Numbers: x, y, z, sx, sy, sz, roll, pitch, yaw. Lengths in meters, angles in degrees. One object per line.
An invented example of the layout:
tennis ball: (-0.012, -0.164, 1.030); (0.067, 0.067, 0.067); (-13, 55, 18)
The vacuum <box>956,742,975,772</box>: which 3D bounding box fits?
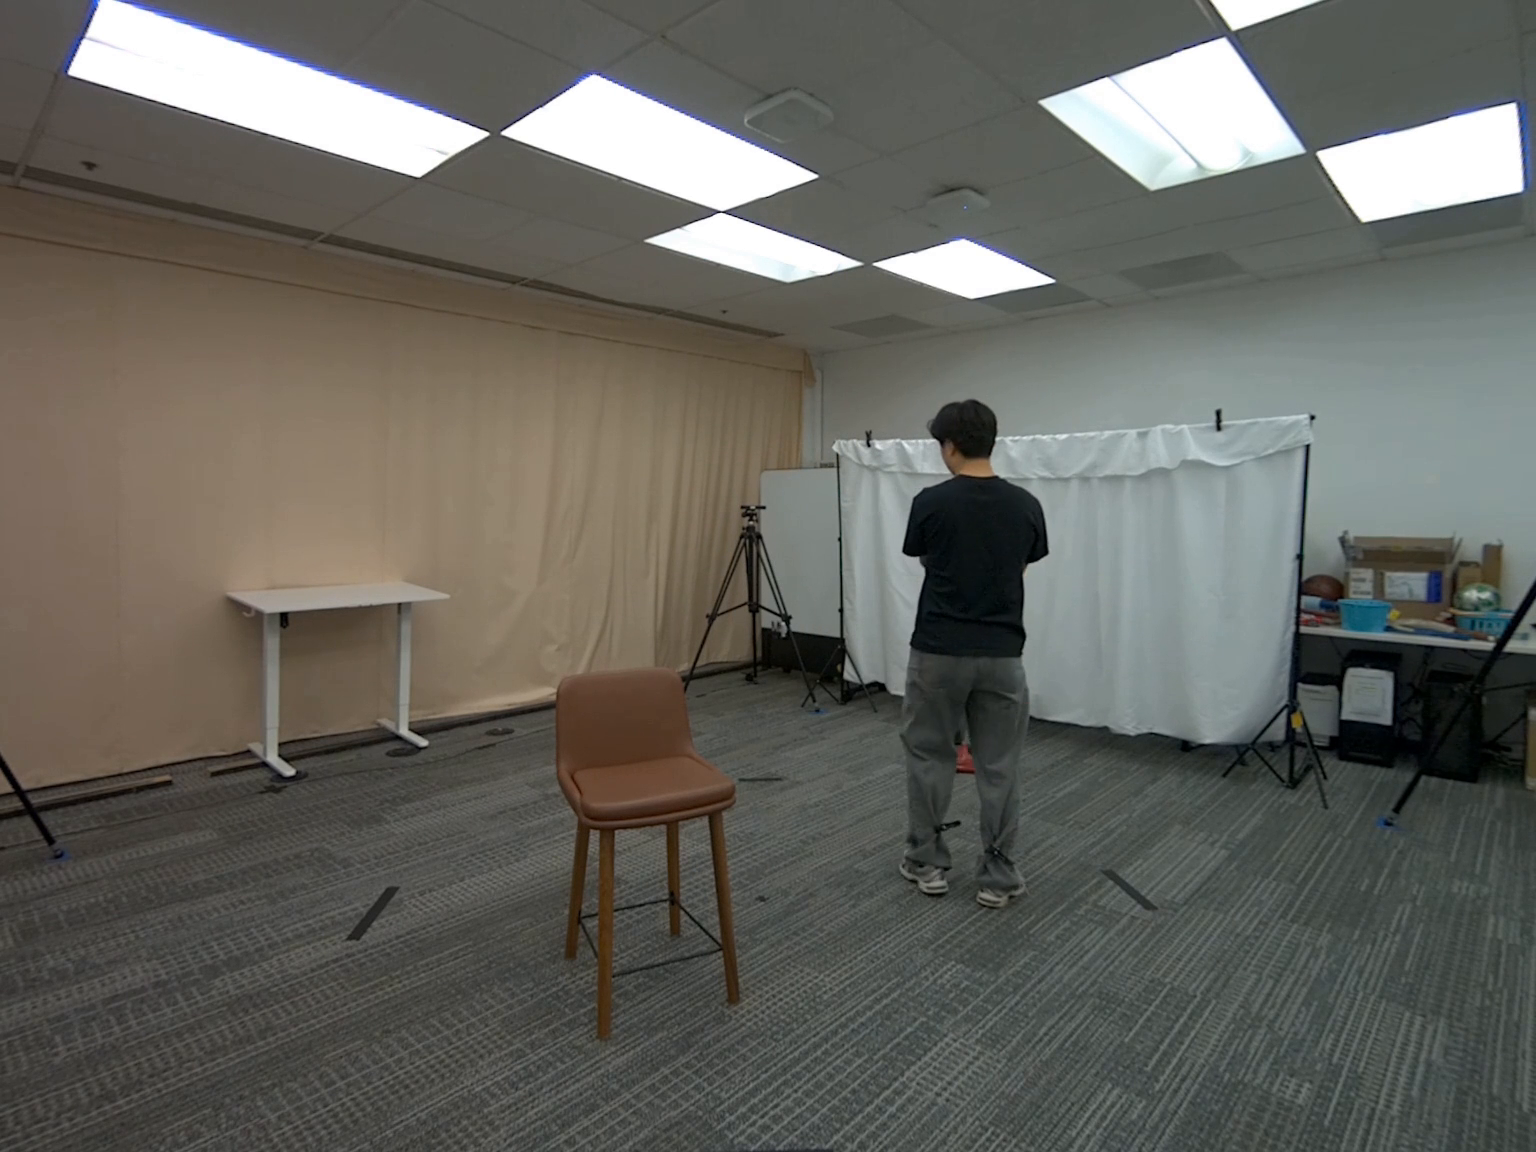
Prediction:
vacuum: (0.782, 0.214, 3.450); (0.255, 1.054, 0.142); (-1, -7, 7)
